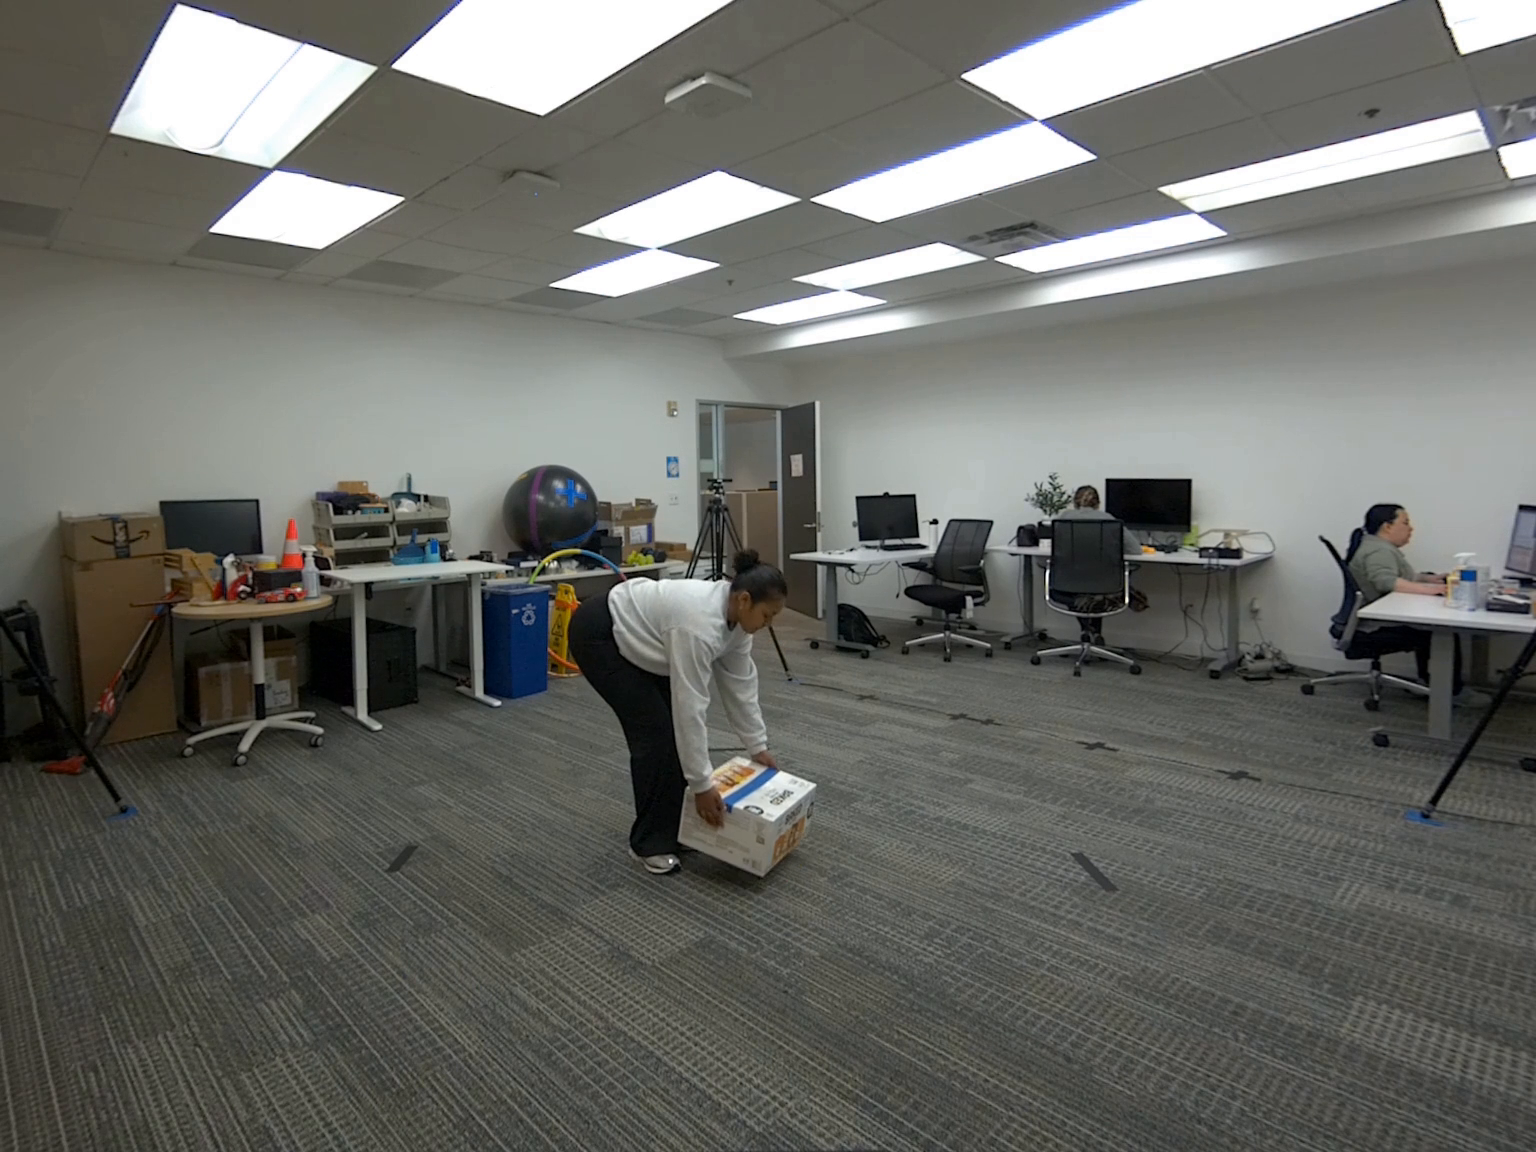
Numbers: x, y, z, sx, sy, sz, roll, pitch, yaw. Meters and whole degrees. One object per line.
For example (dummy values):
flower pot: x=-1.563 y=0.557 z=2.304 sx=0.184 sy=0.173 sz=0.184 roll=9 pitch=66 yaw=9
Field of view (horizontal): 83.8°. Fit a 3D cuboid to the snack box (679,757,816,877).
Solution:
snack box: x=-0.061 y=0.834 z=3.079 sx=0.349 sy=0.204 sz=0.397 roll=12 pitch=10 yaw=25
